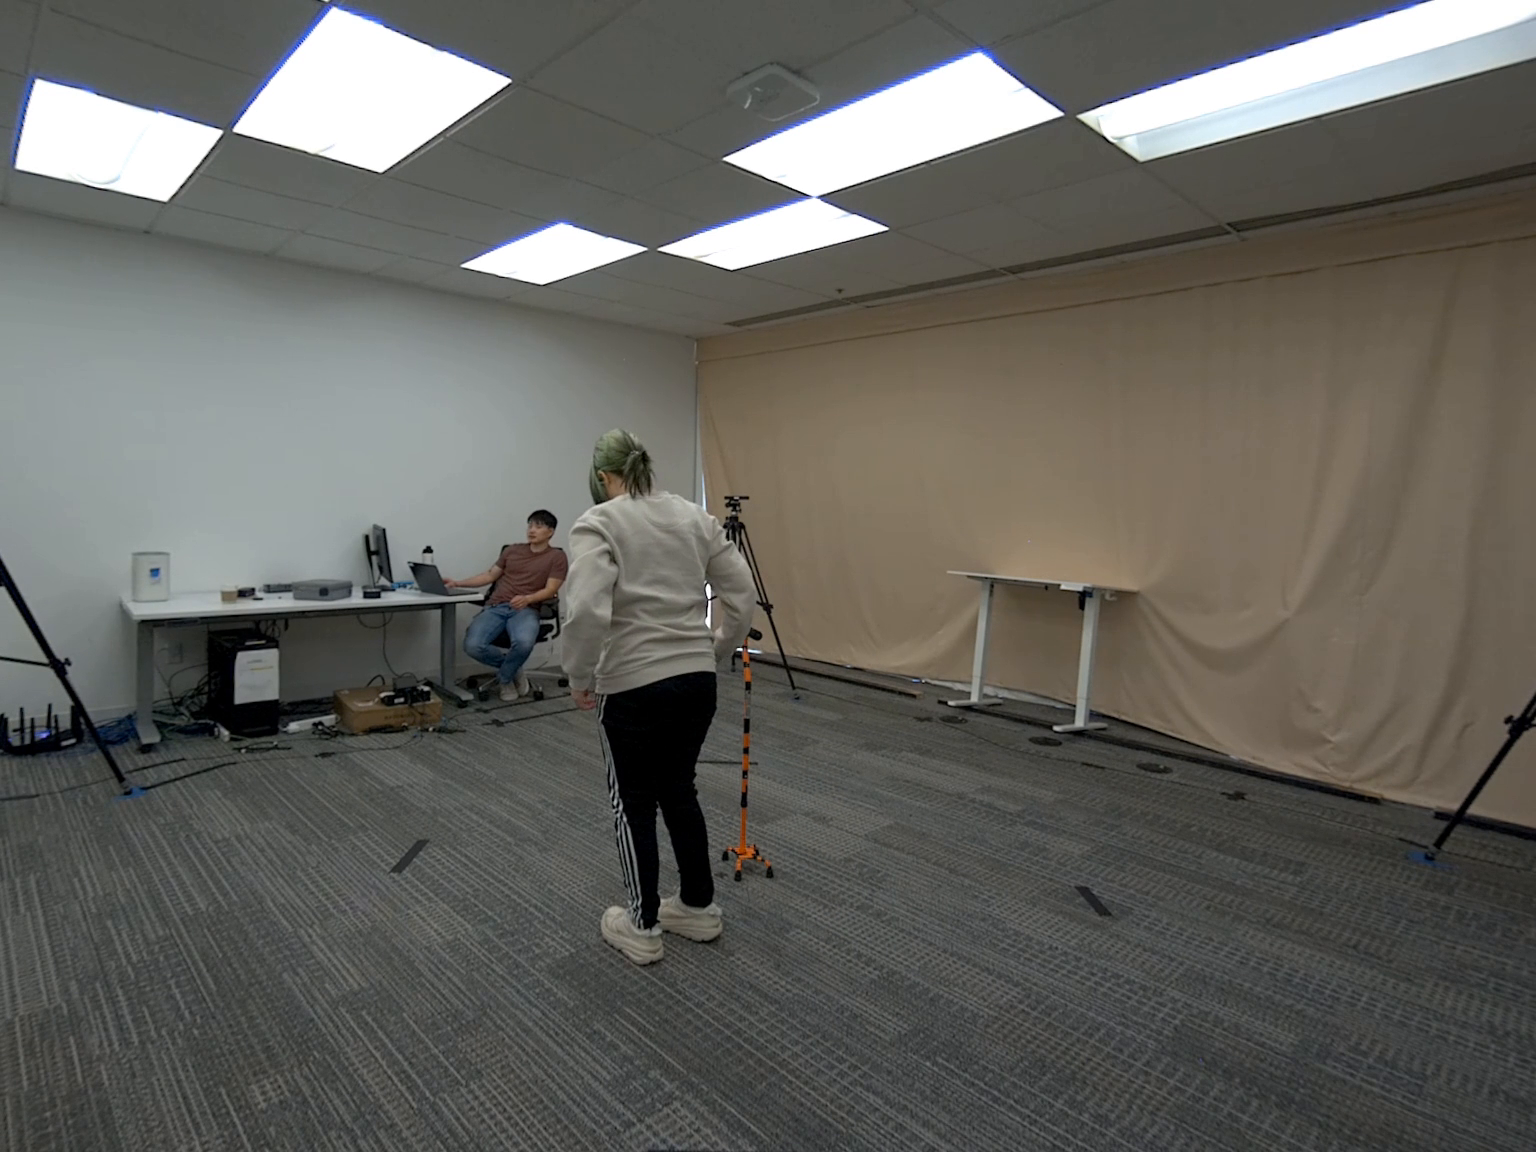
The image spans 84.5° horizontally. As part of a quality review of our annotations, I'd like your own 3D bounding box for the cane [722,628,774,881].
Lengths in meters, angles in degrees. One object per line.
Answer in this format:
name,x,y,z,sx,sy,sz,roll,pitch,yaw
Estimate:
cane,-0.068,0.651,3.141,0.149,0.906,0.209,1,3,-17
